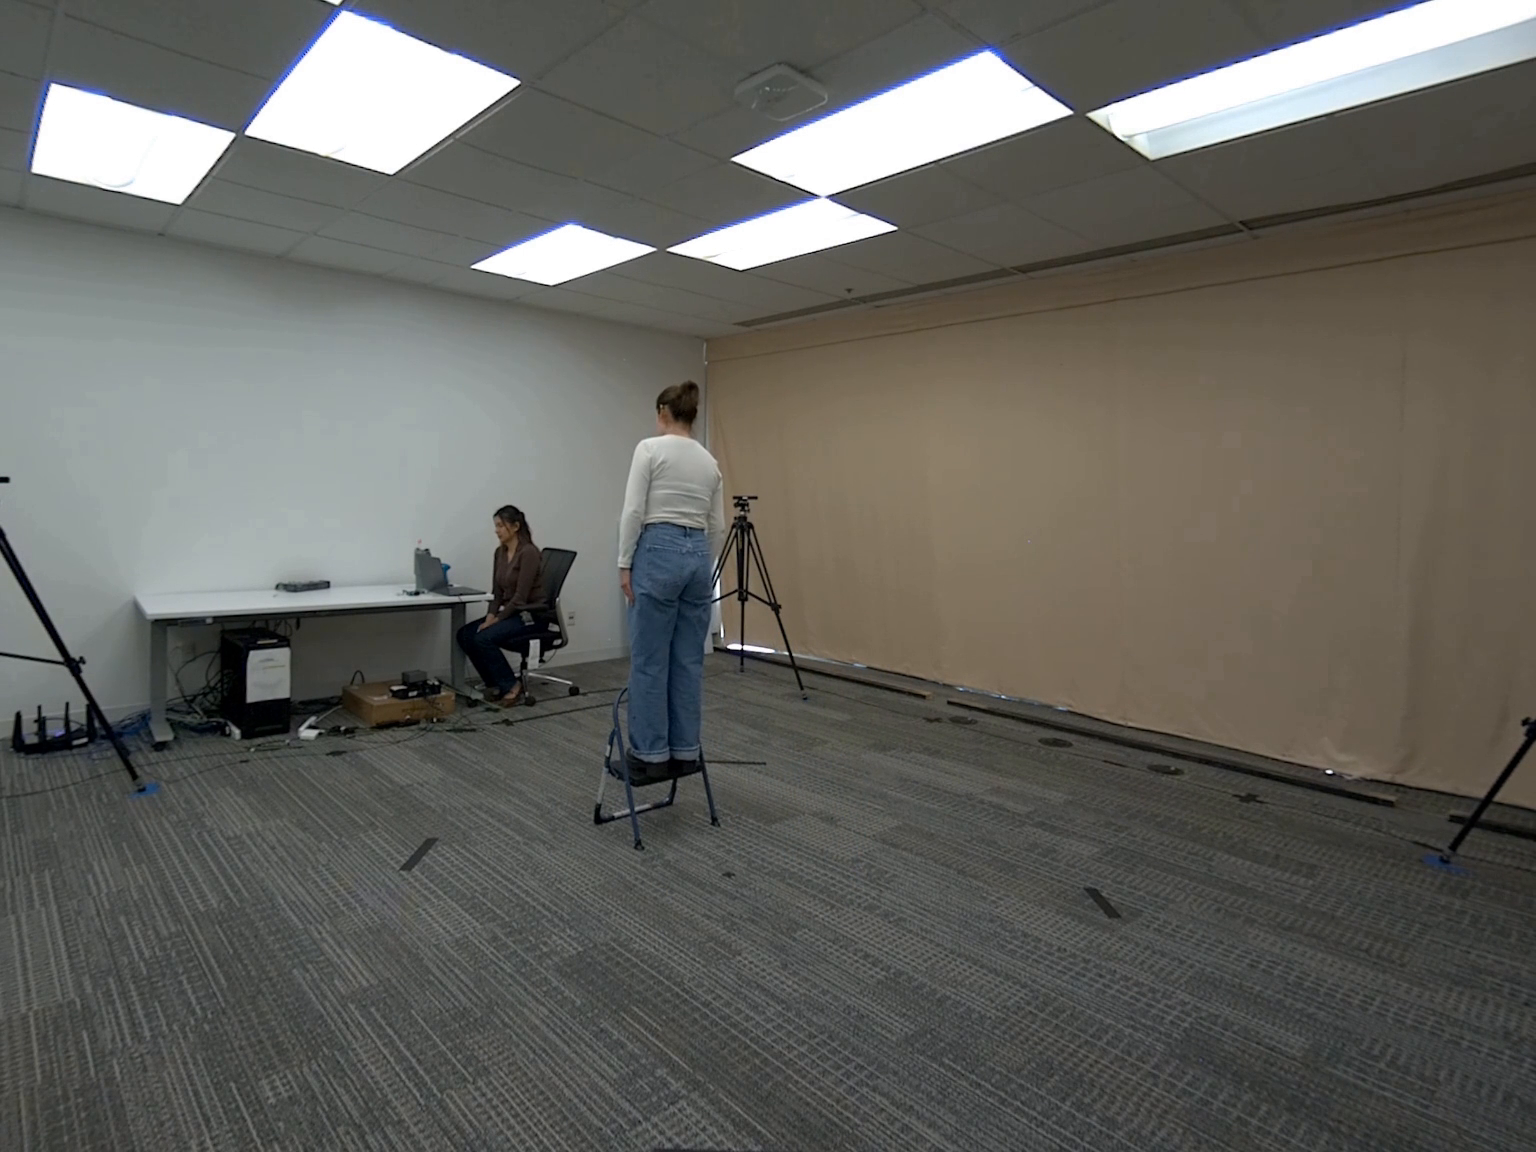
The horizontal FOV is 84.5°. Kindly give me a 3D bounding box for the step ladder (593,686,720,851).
[{"bbox_3d":[-0.470,0.753,3.553,0.420,0.605,0.358,-1,4,-43],"label":"step ladder"}]
